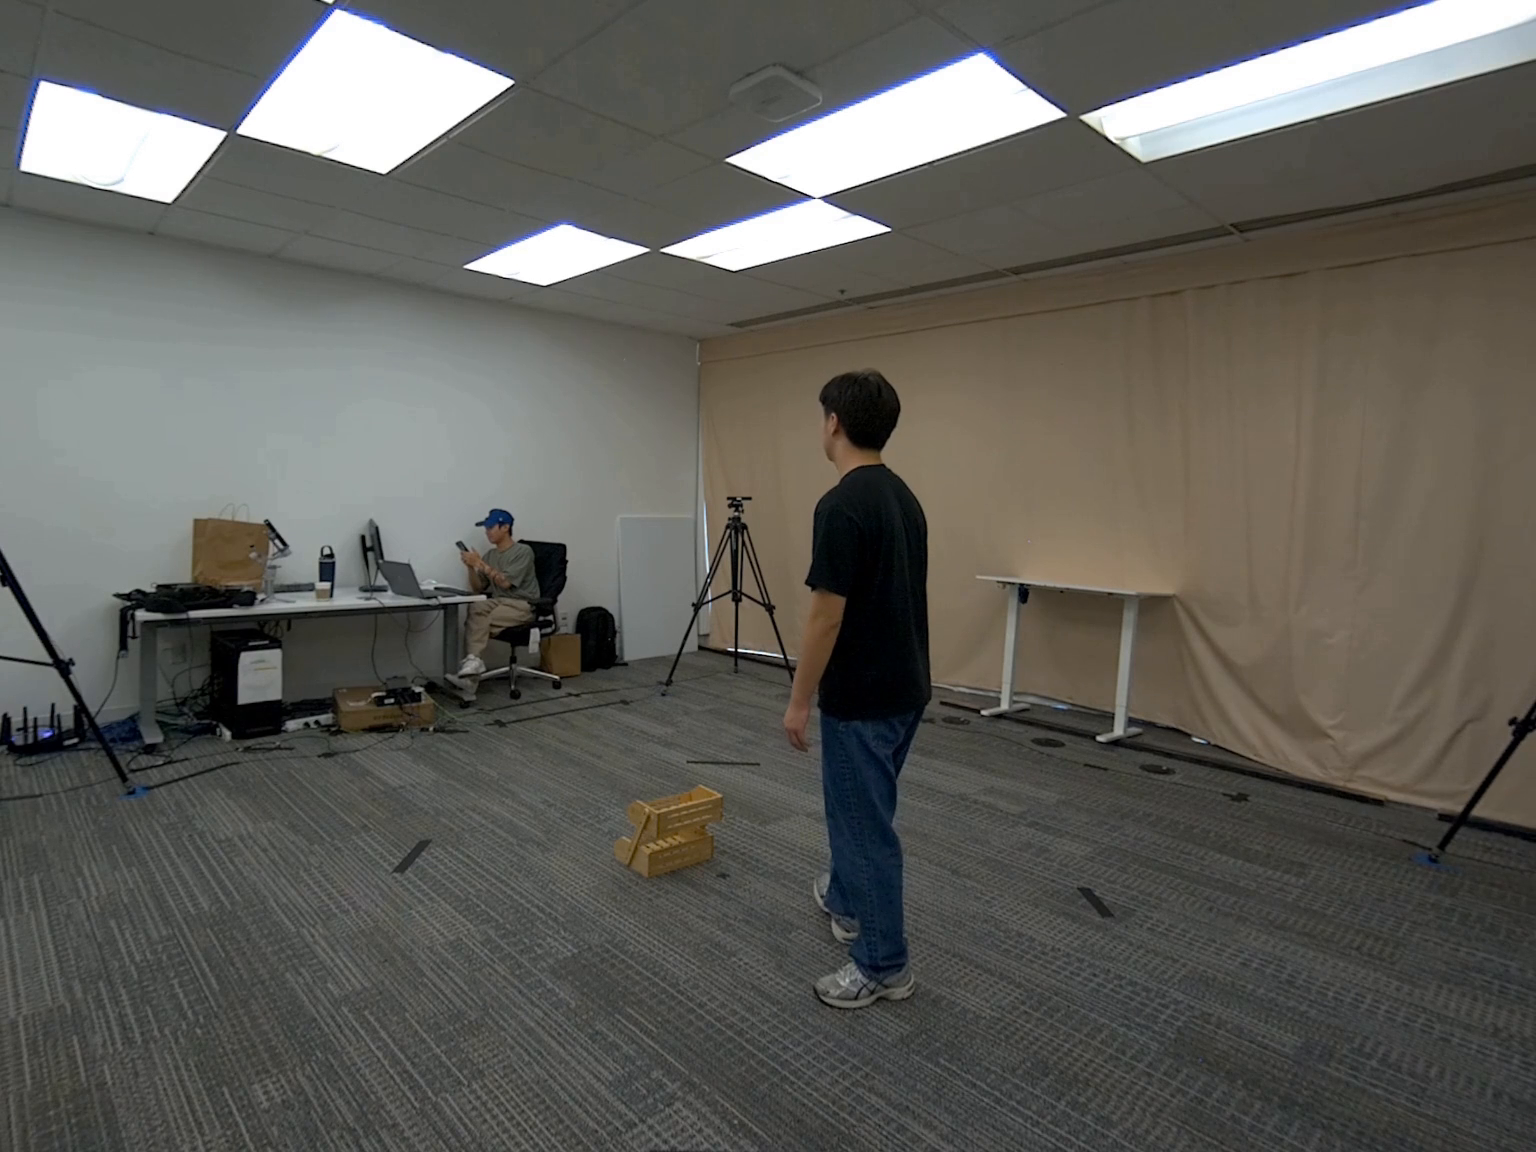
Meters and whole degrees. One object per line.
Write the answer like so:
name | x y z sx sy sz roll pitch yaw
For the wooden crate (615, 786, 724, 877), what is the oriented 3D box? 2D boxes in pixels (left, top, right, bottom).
wooden crate | -0.391 0.958 3.230 0.317 0.272 0.310 -2 6 -40
